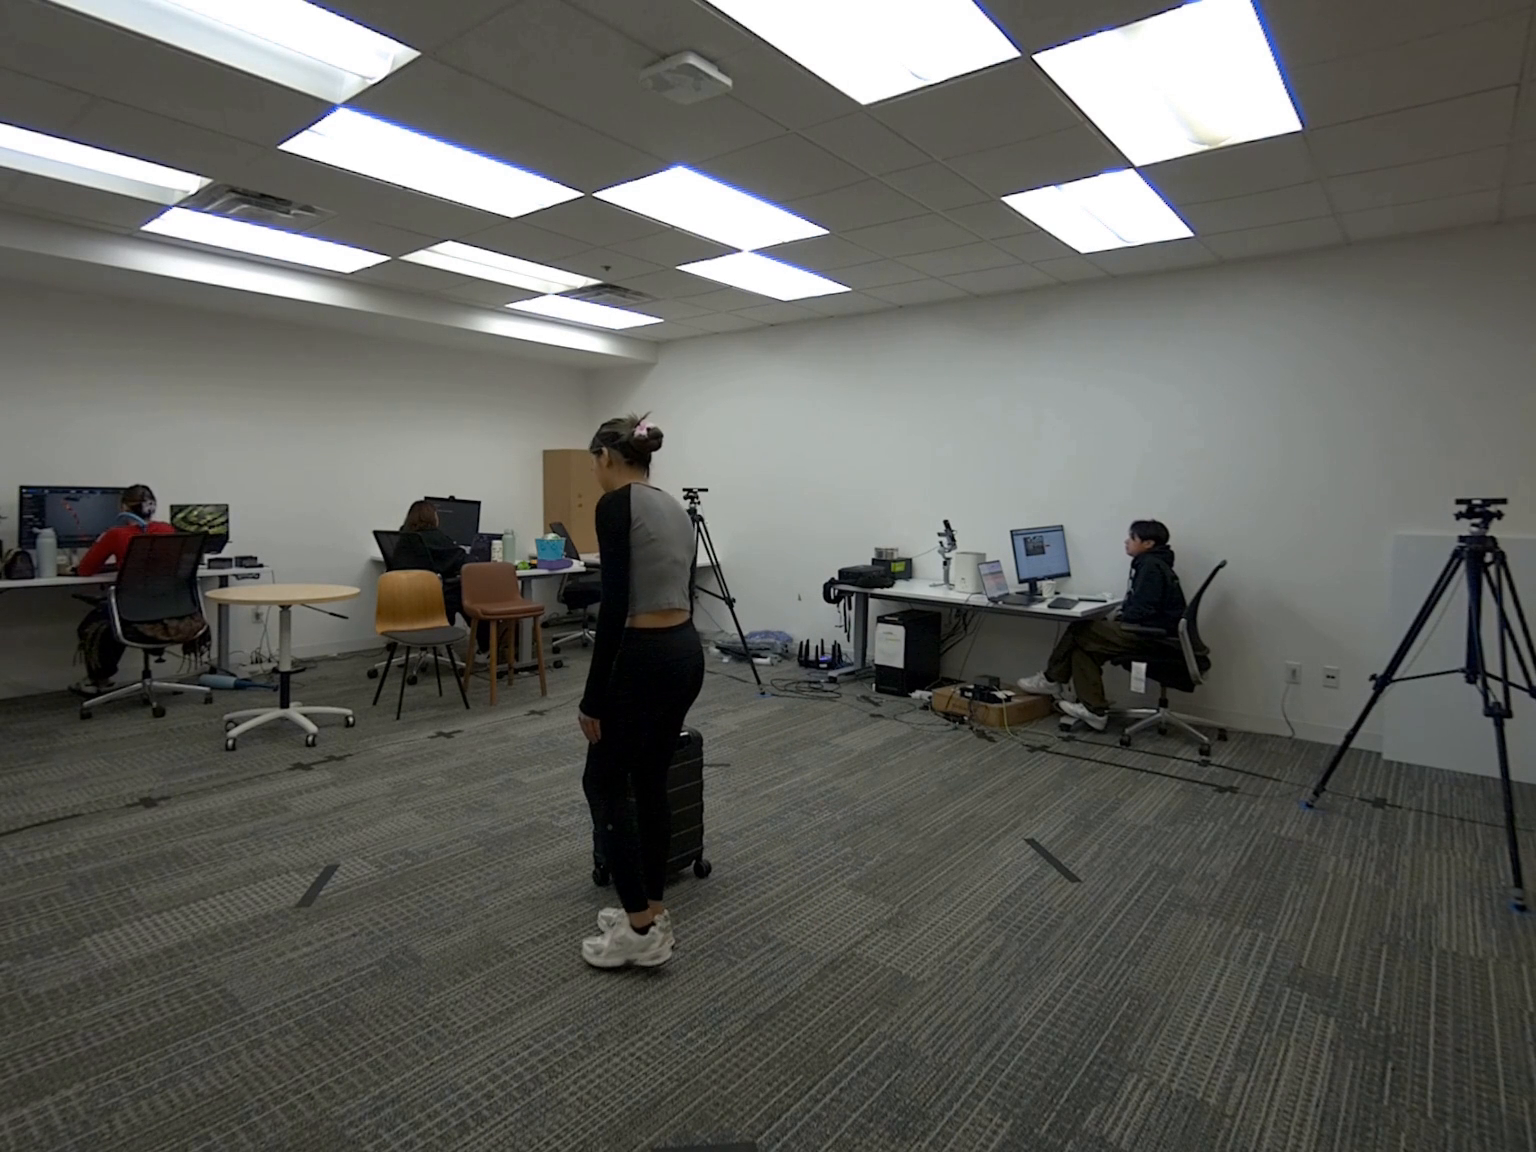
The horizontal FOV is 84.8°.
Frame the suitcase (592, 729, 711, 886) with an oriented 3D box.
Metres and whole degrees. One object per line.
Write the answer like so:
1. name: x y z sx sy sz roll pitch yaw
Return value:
1. suitcase: -0.426 0.800 3.020 0.256 0.549 0.364 0 2 41
